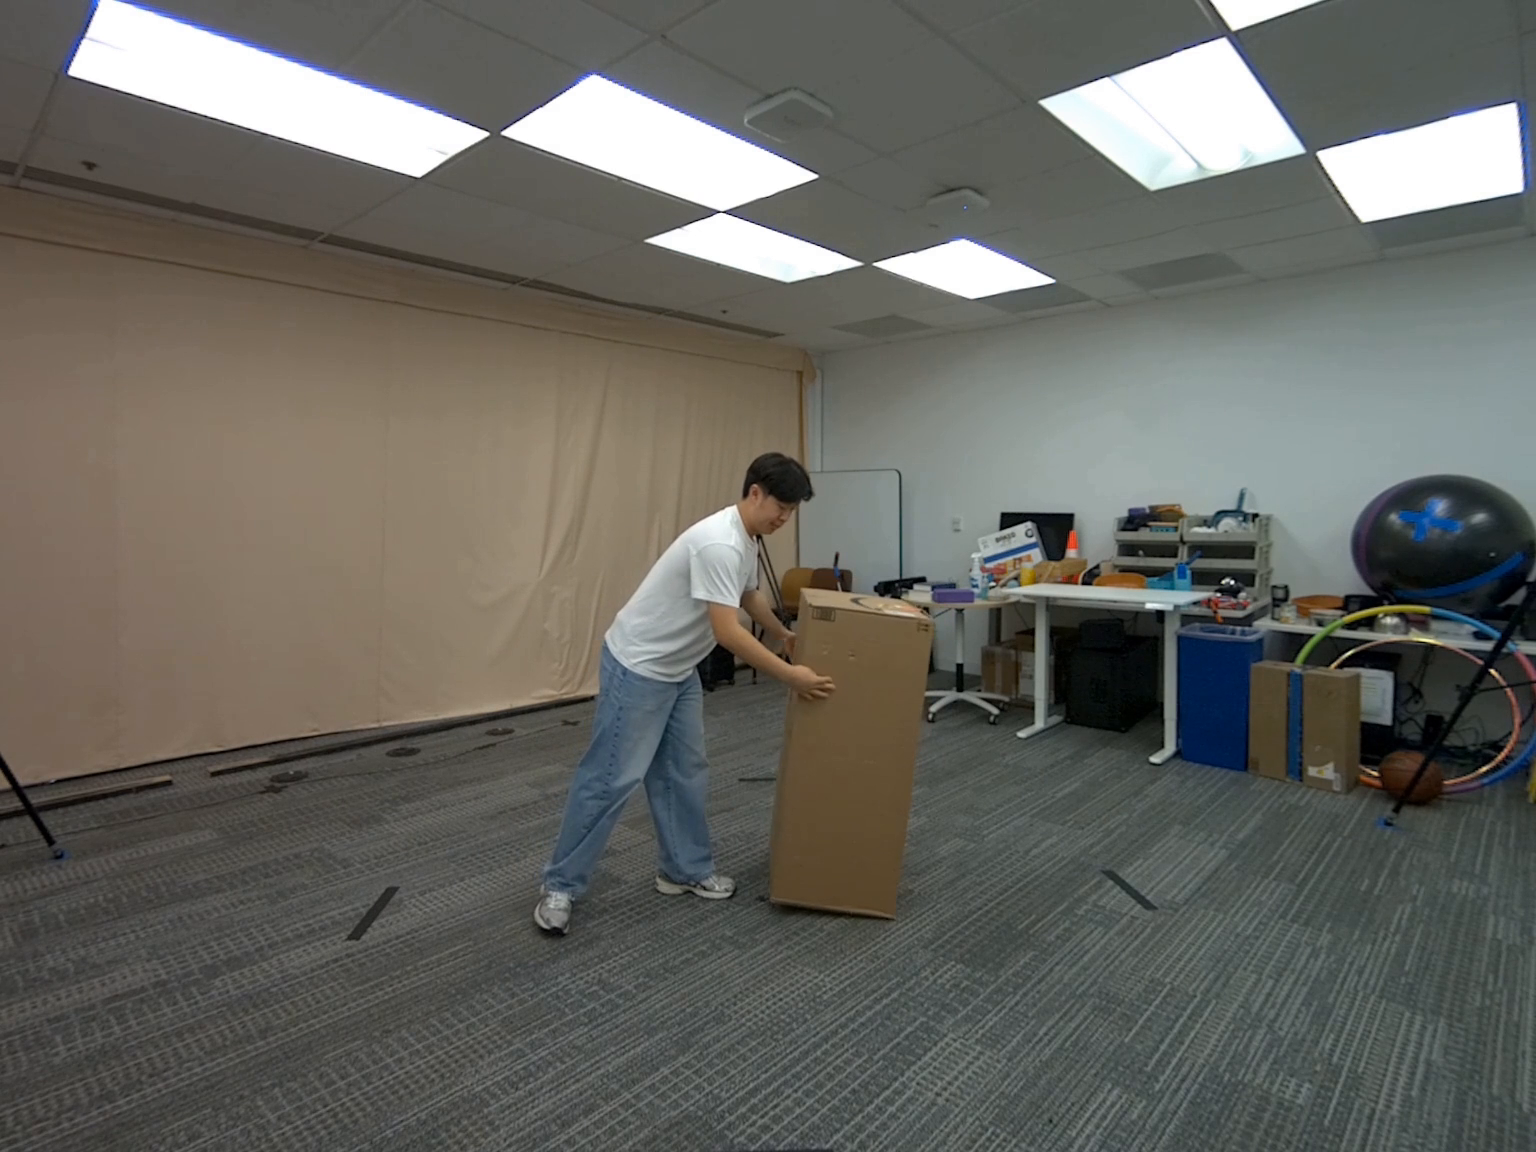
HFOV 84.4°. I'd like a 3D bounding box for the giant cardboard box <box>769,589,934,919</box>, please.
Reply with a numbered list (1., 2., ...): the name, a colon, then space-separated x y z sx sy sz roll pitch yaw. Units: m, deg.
1. giant cardboard box: 0.285 0.600 3.086 0.427 1.024 0.578 7 3 0
